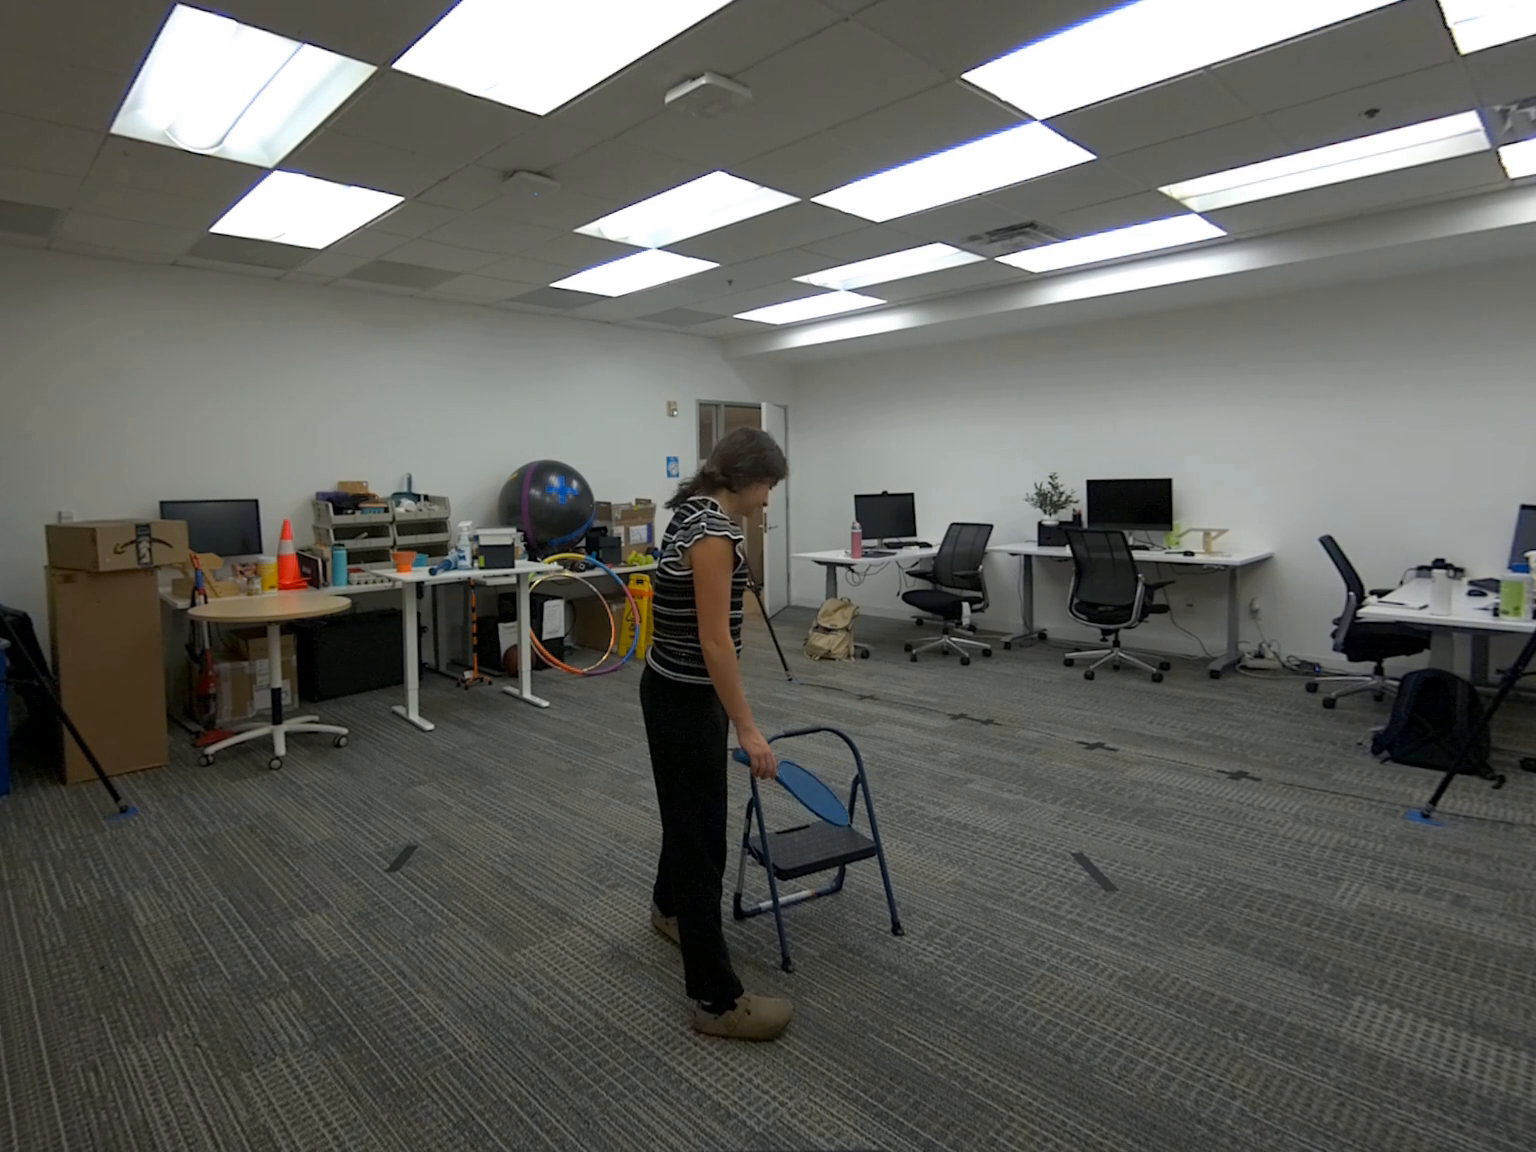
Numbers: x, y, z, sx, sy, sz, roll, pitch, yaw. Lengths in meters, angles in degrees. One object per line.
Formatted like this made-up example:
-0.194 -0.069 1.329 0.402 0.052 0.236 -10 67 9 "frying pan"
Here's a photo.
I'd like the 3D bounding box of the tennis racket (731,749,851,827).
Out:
0.056 0.528 2.257 0.418 0.032 0.221 36 10 -33 "tennis racket"
